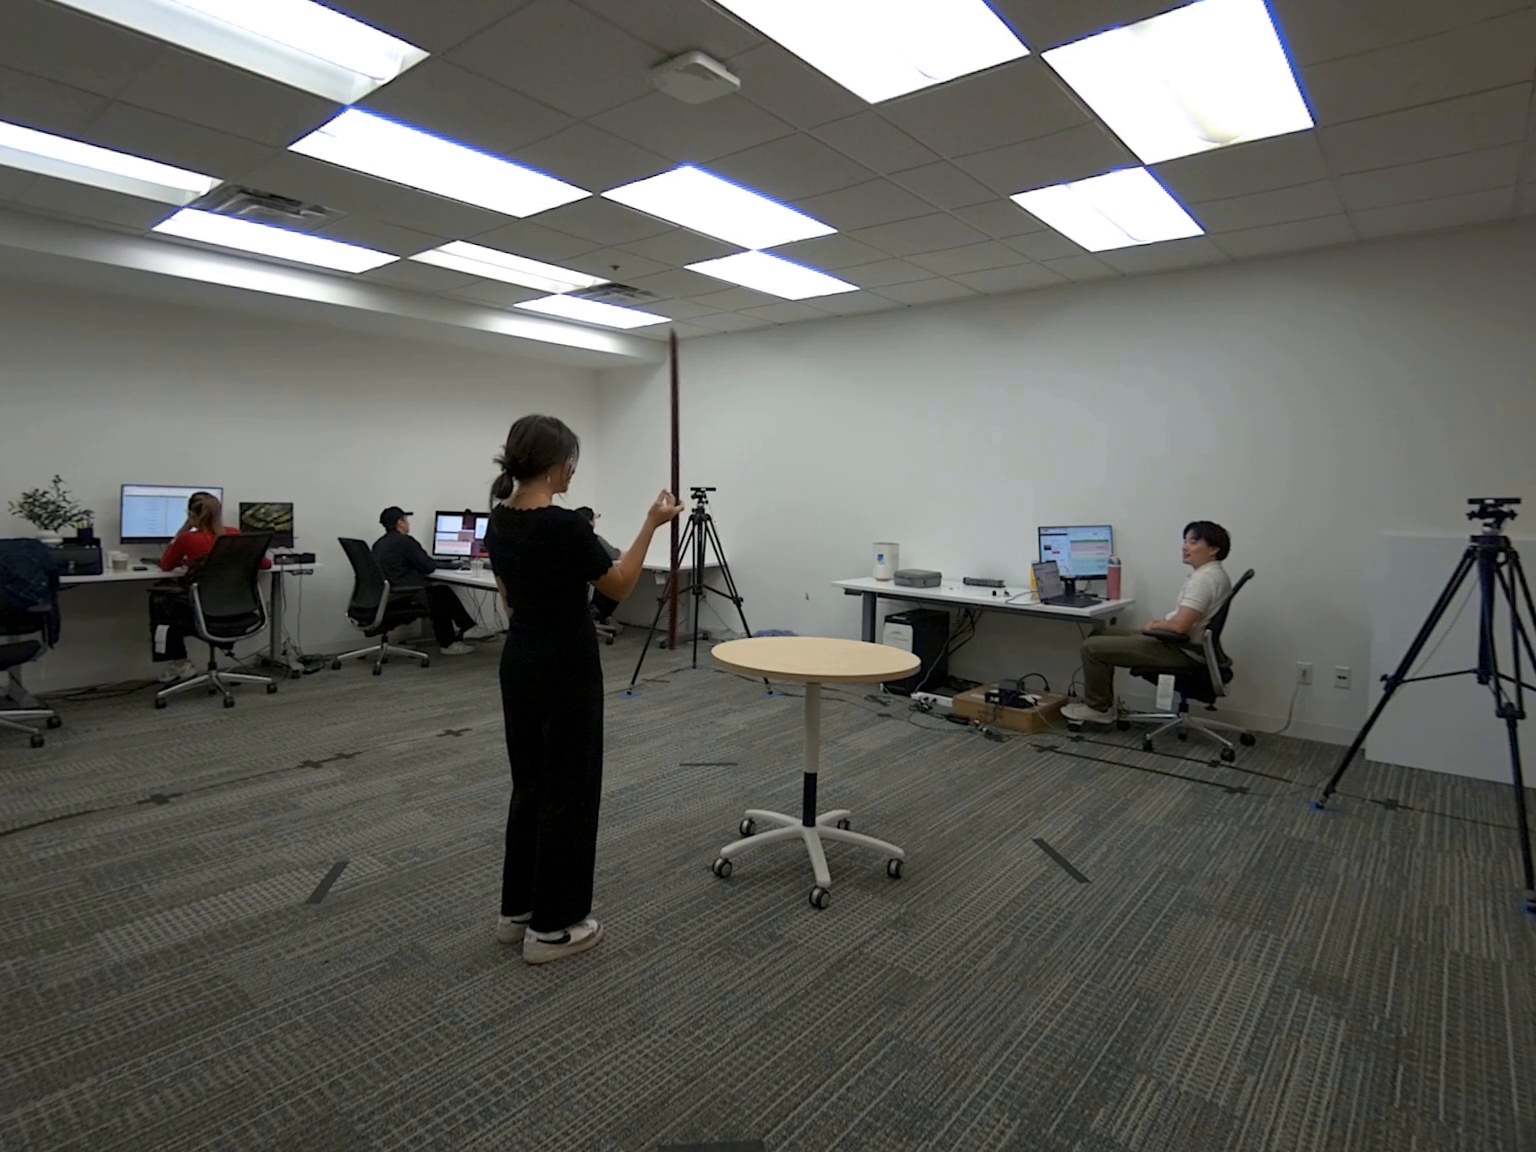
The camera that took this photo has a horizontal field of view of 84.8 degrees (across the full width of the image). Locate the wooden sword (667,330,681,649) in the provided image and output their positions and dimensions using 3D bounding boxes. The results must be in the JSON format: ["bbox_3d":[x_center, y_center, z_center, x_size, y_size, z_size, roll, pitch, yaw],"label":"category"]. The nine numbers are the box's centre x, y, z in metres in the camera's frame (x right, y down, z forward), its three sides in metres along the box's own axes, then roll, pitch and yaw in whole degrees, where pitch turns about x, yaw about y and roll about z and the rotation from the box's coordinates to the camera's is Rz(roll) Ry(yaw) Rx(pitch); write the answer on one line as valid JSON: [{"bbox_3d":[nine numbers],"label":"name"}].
[{"bbox_3d":[-0.298,-0.255,2.671,0.023,1.012,0.053,-7,15,-35],"label":"wooden sword"}]
